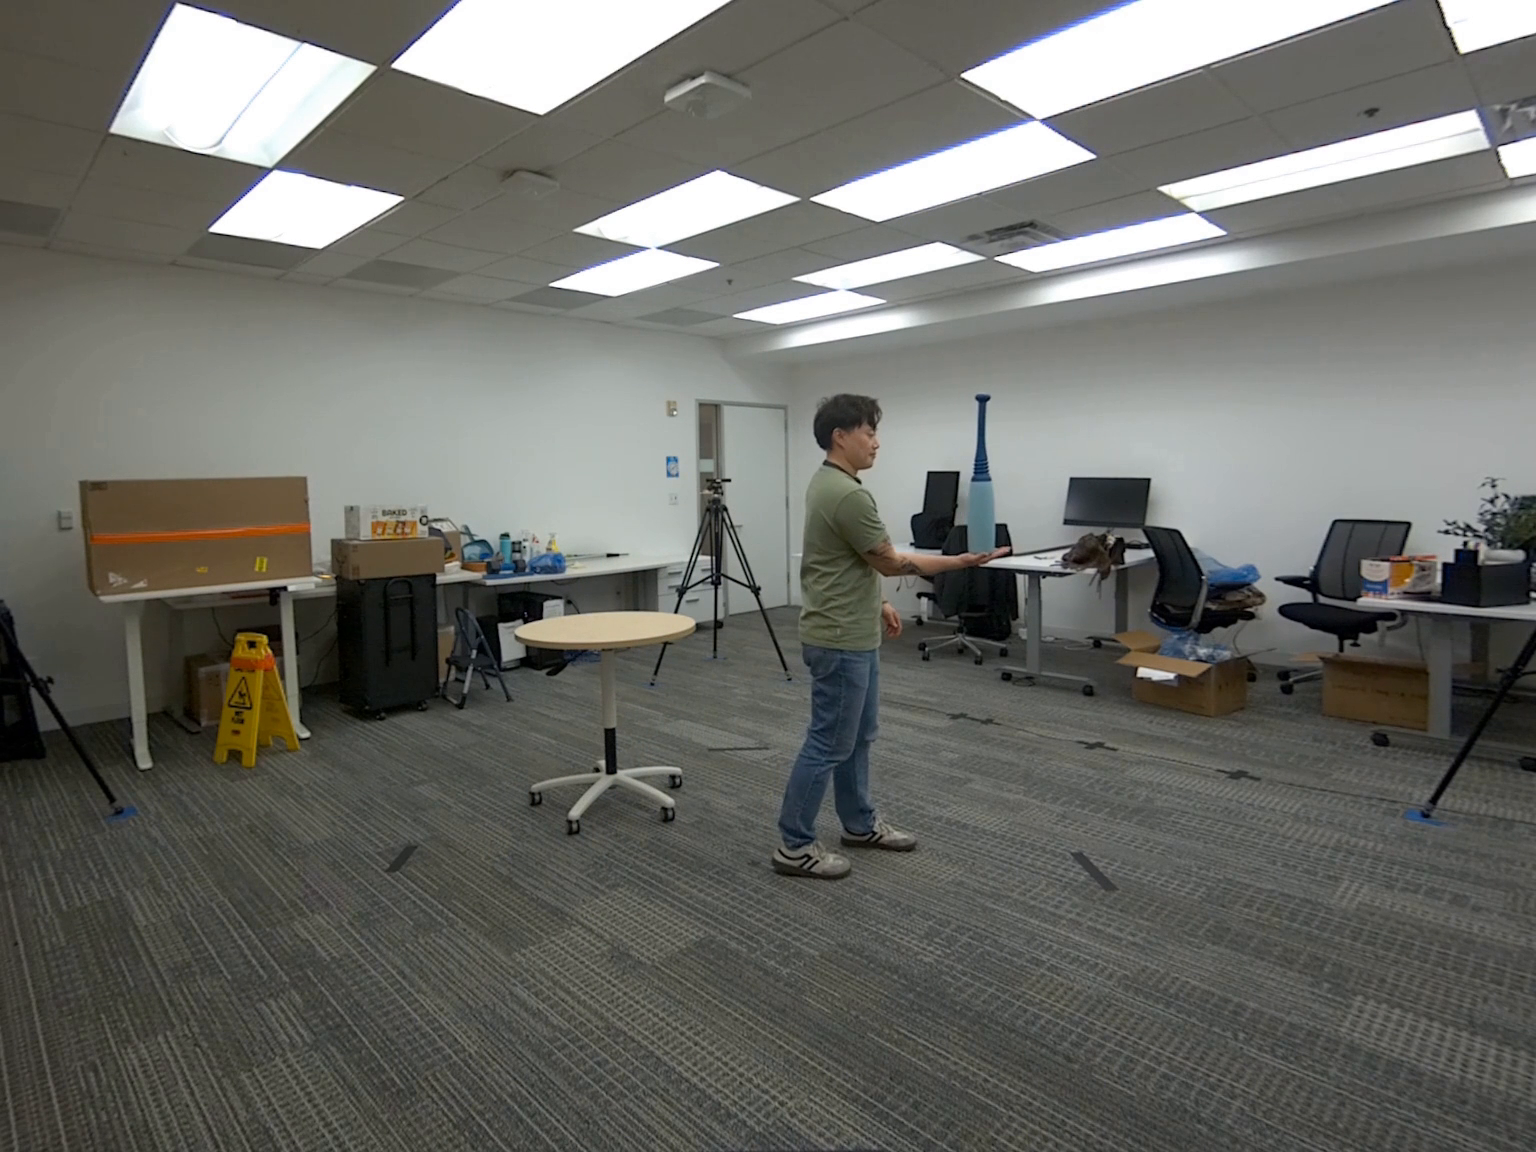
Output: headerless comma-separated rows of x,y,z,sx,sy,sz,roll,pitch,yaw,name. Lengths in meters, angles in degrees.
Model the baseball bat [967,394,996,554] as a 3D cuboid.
0.712,-0.340,2.870,0.089,0.540,0.089,0,5,-2,baseball bat
